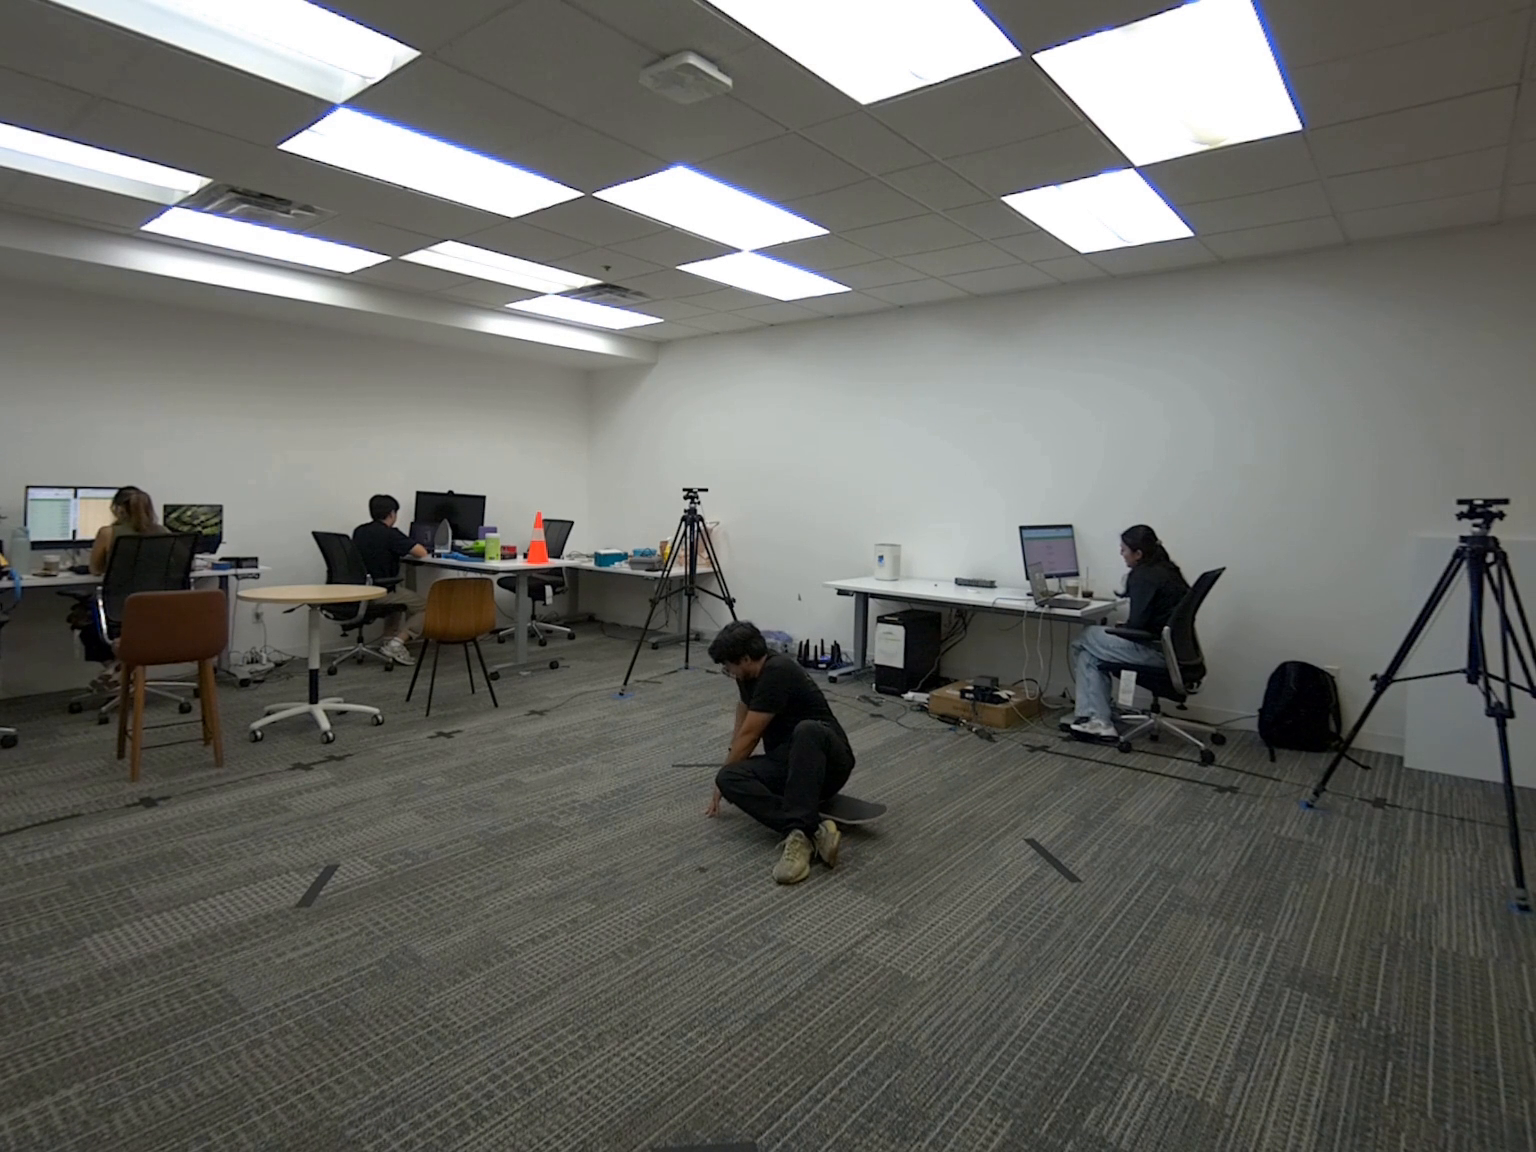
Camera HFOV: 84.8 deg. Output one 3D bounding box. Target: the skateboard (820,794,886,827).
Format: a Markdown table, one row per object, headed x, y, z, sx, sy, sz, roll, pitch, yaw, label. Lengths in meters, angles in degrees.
| x | y | z | sx | sy | sz | roll | pitch | yaw | label |
| --- | --- | --- | --- | --- | --- | --- | --- | --- | --- |
| 0.137 | 0.966 | 3.651 | 0.812 | 0.109 | 0.189 | 6 | 13 | 38 | skateboard |
